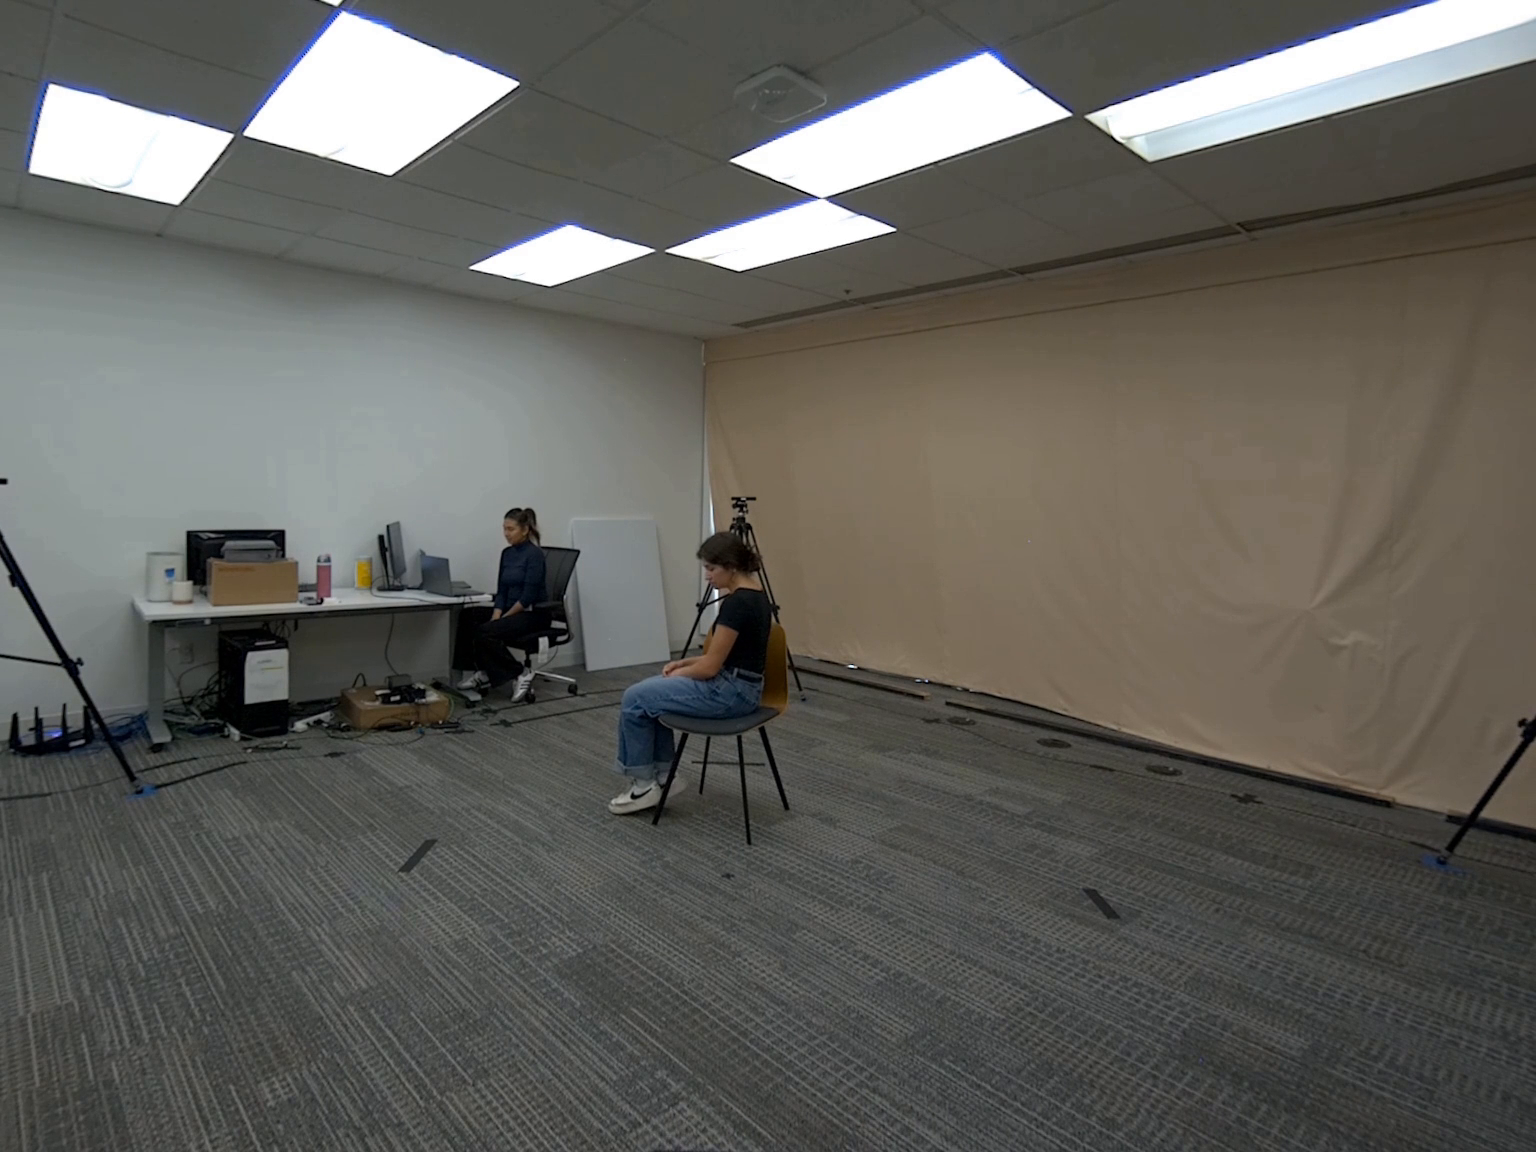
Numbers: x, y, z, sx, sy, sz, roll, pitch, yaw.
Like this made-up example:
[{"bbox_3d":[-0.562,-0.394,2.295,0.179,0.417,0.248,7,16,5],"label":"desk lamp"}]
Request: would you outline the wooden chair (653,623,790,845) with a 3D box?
[{"bbox_3d":[-0.189,0.633,3.649,0.487,0.878,0.513,1,-1,23],"label":"wooden chair"}]
